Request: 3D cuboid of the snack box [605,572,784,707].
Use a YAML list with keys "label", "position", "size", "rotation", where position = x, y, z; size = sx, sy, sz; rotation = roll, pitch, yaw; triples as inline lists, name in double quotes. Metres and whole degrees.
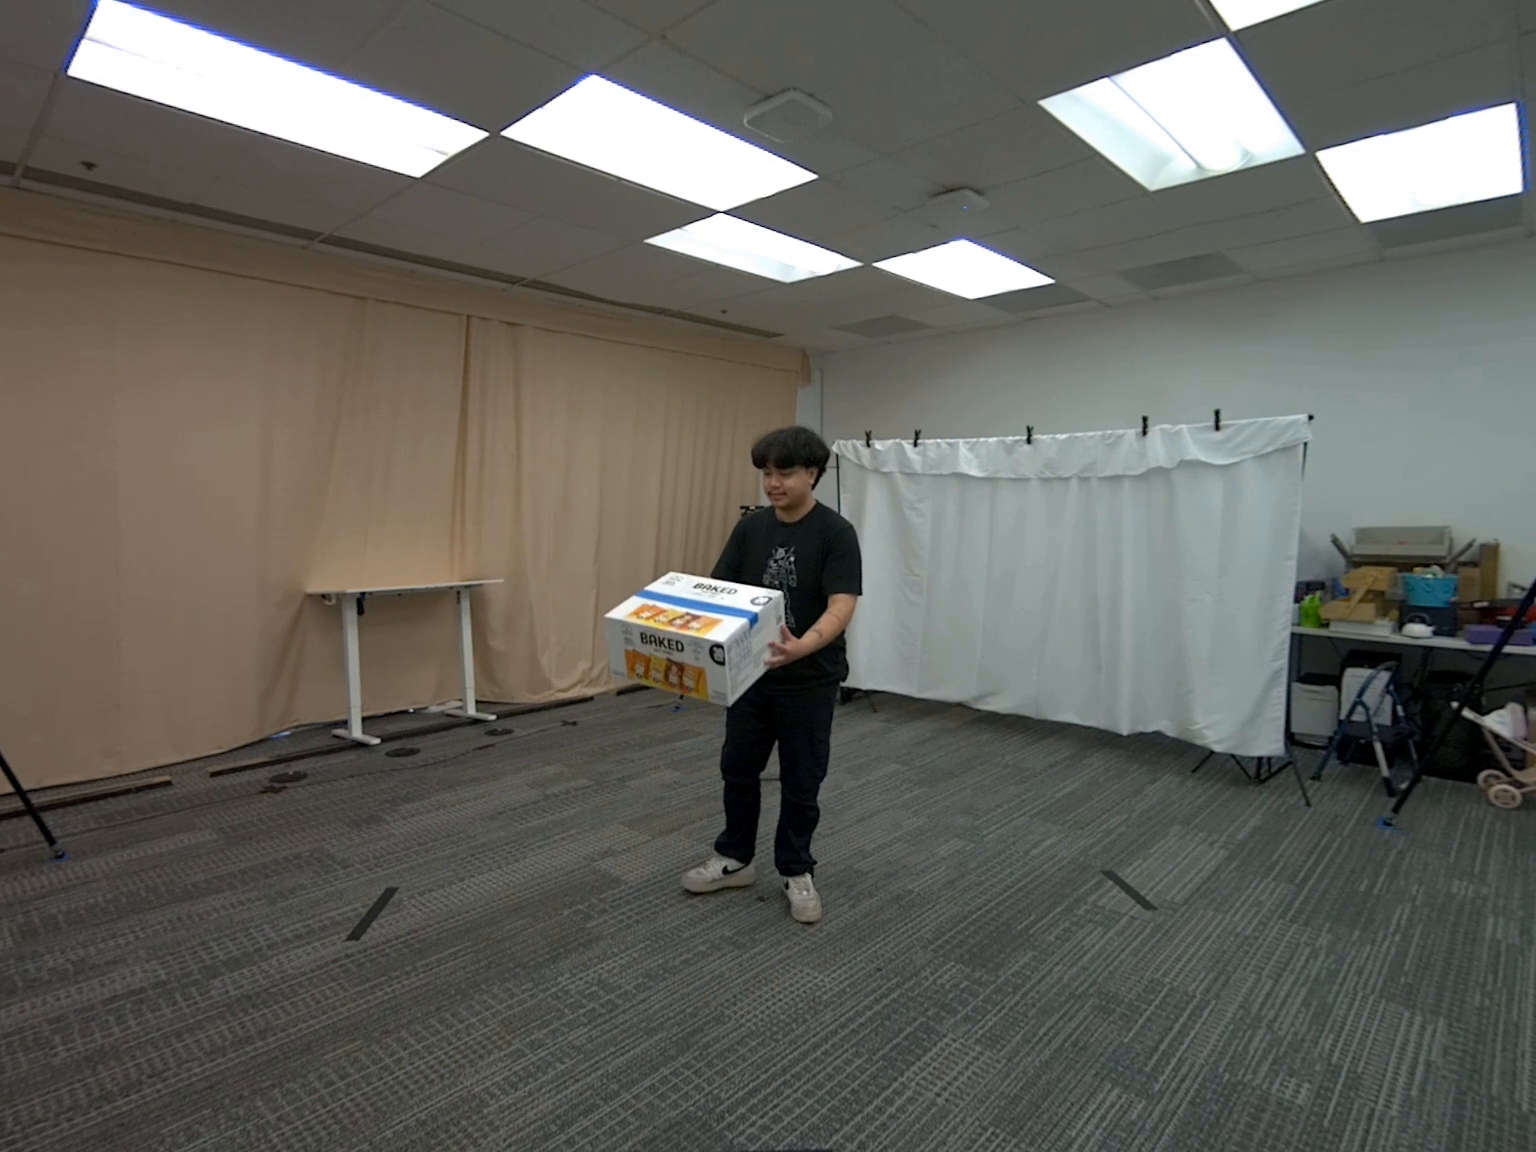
- label: "snack box"
  position: [-0.208, 0.178, 2.471]
  size: [0.417, 0.202, 0.335]
  rotation: [9, 27, 29]
